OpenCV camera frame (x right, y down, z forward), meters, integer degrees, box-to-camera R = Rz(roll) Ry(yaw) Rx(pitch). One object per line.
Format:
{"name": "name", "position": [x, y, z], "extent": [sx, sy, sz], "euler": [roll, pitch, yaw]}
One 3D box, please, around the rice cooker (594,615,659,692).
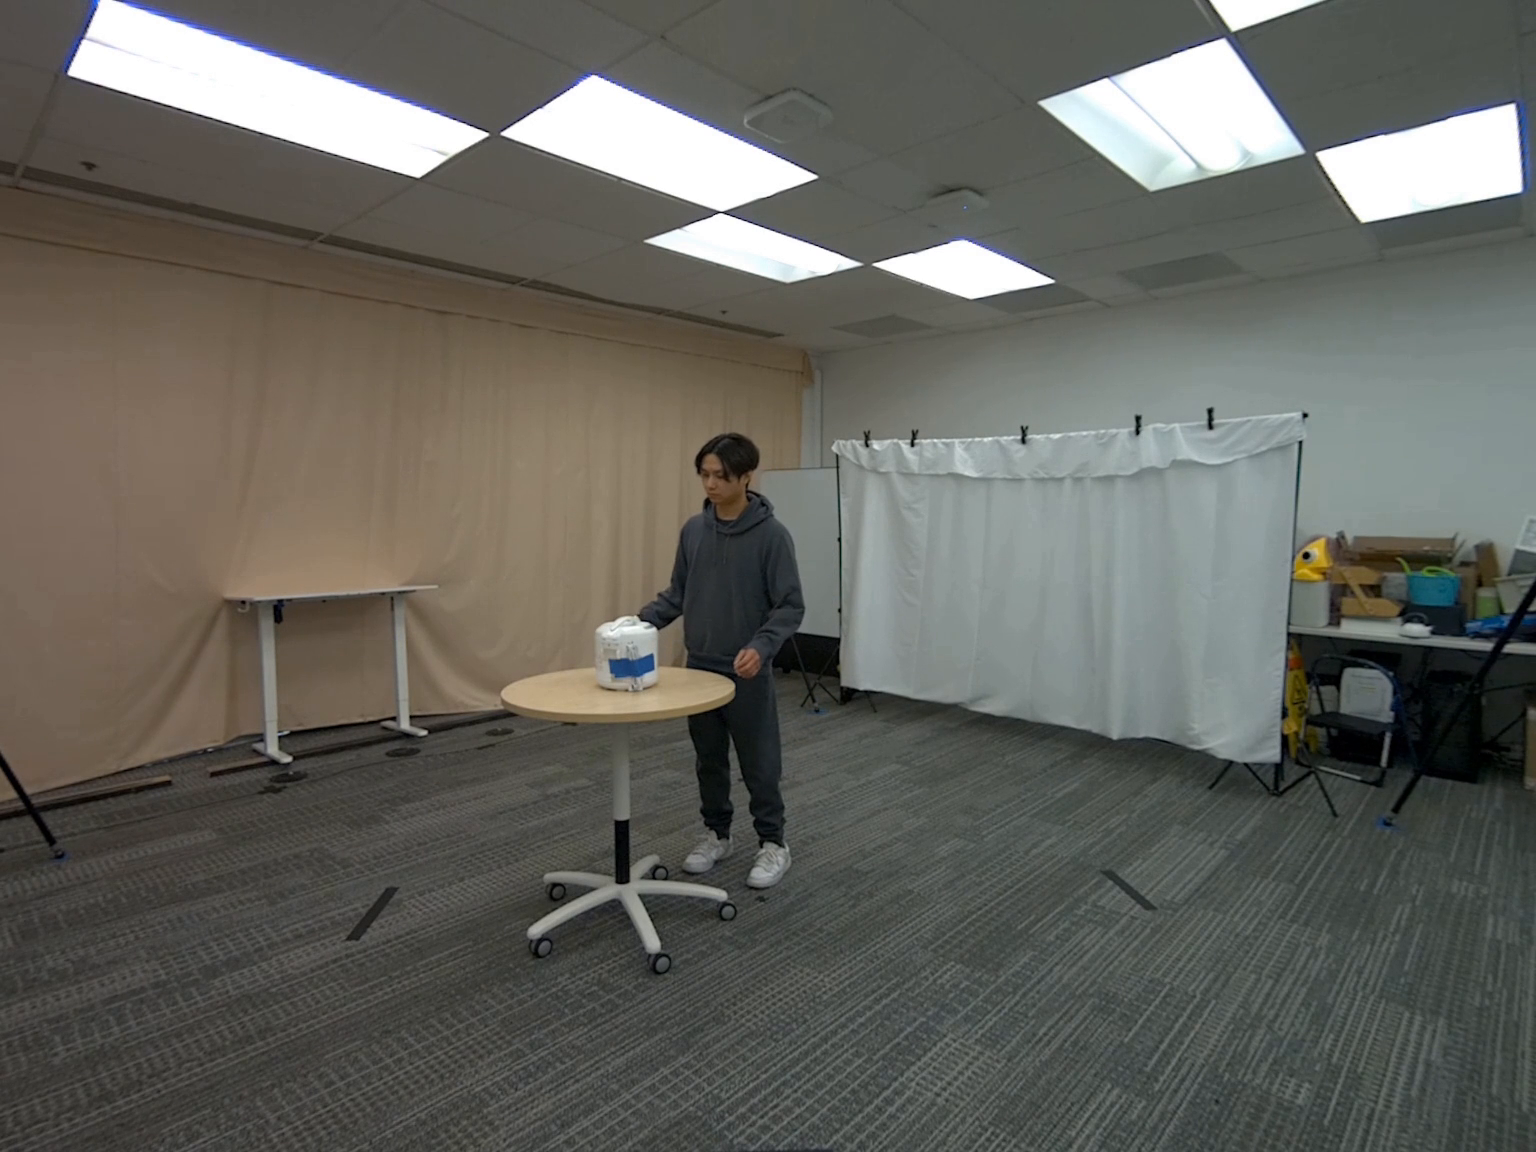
{"name": "rice cooker", "position": [-0.474, 0.252, 2.788], "extent": [0.222, 0.232, 0.216], "euler": [2, 4, 22]}
